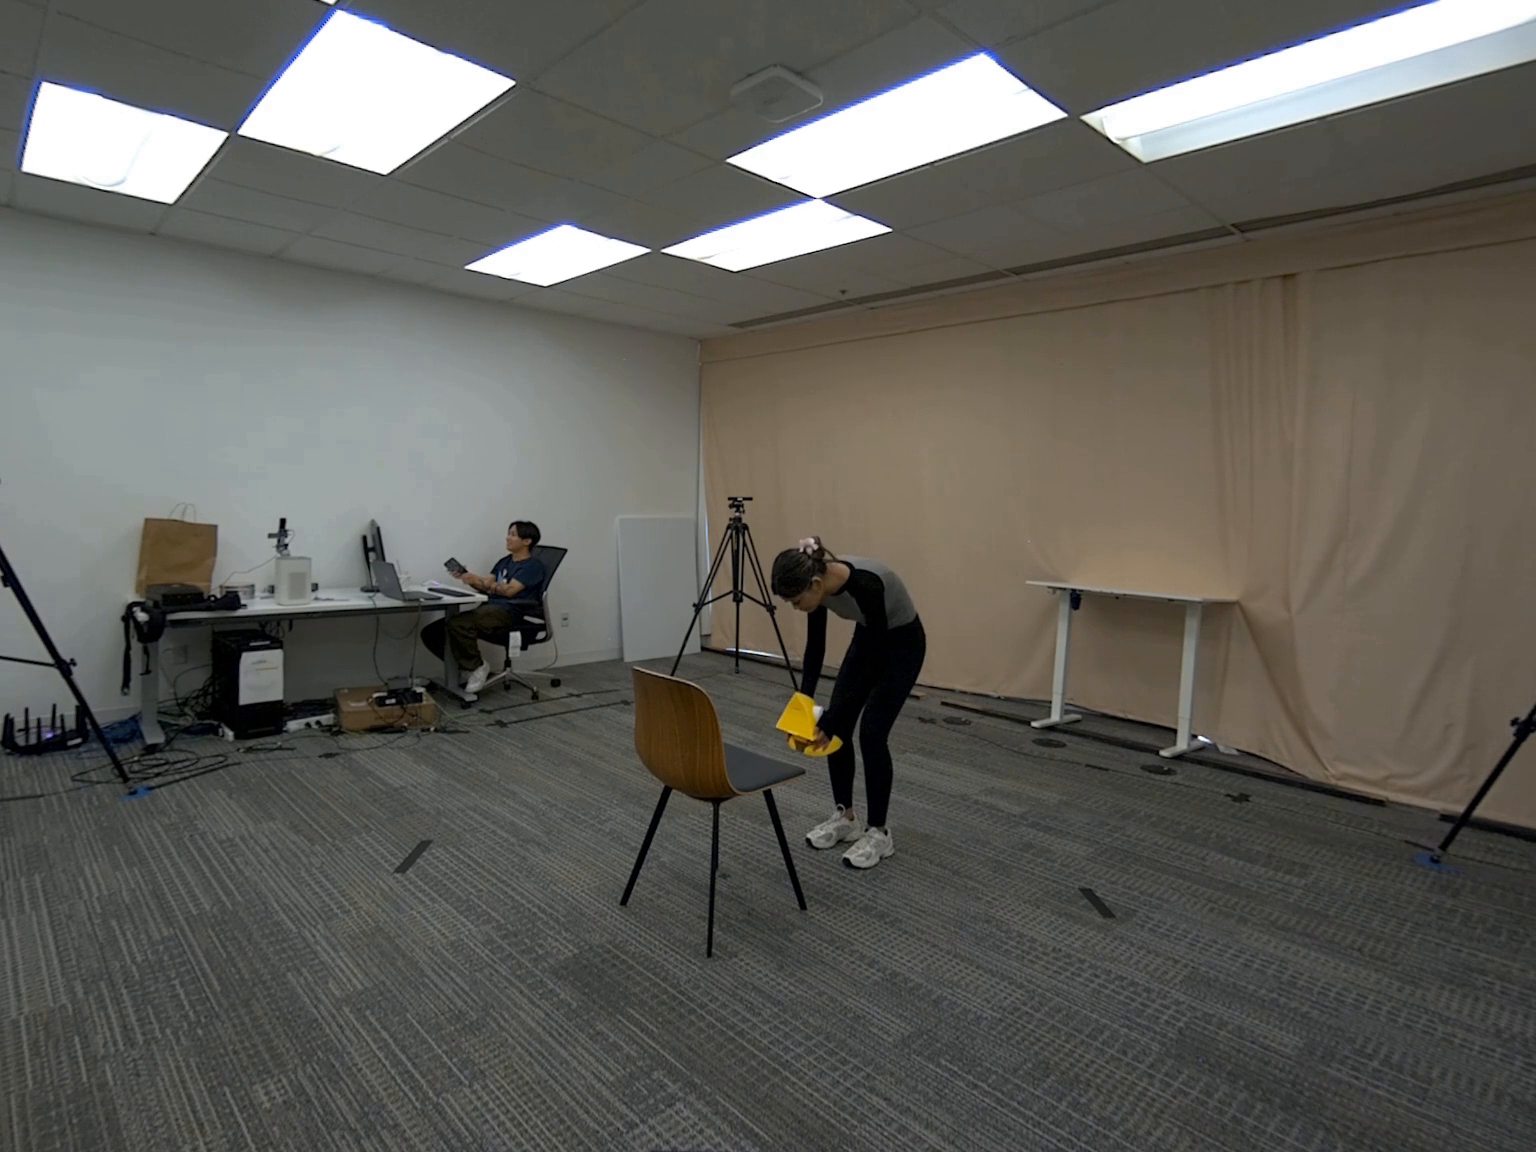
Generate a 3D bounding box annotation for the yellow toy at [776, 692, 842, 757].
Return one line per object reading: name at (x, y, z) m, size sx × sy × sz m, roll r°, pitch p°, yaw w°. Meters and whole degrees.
yellow toy at (0.156, 0.530, 3.170) m, size 0.189 × 0.229 × 0.210 m, roll -12°, pitch 12°, yaw -39°
